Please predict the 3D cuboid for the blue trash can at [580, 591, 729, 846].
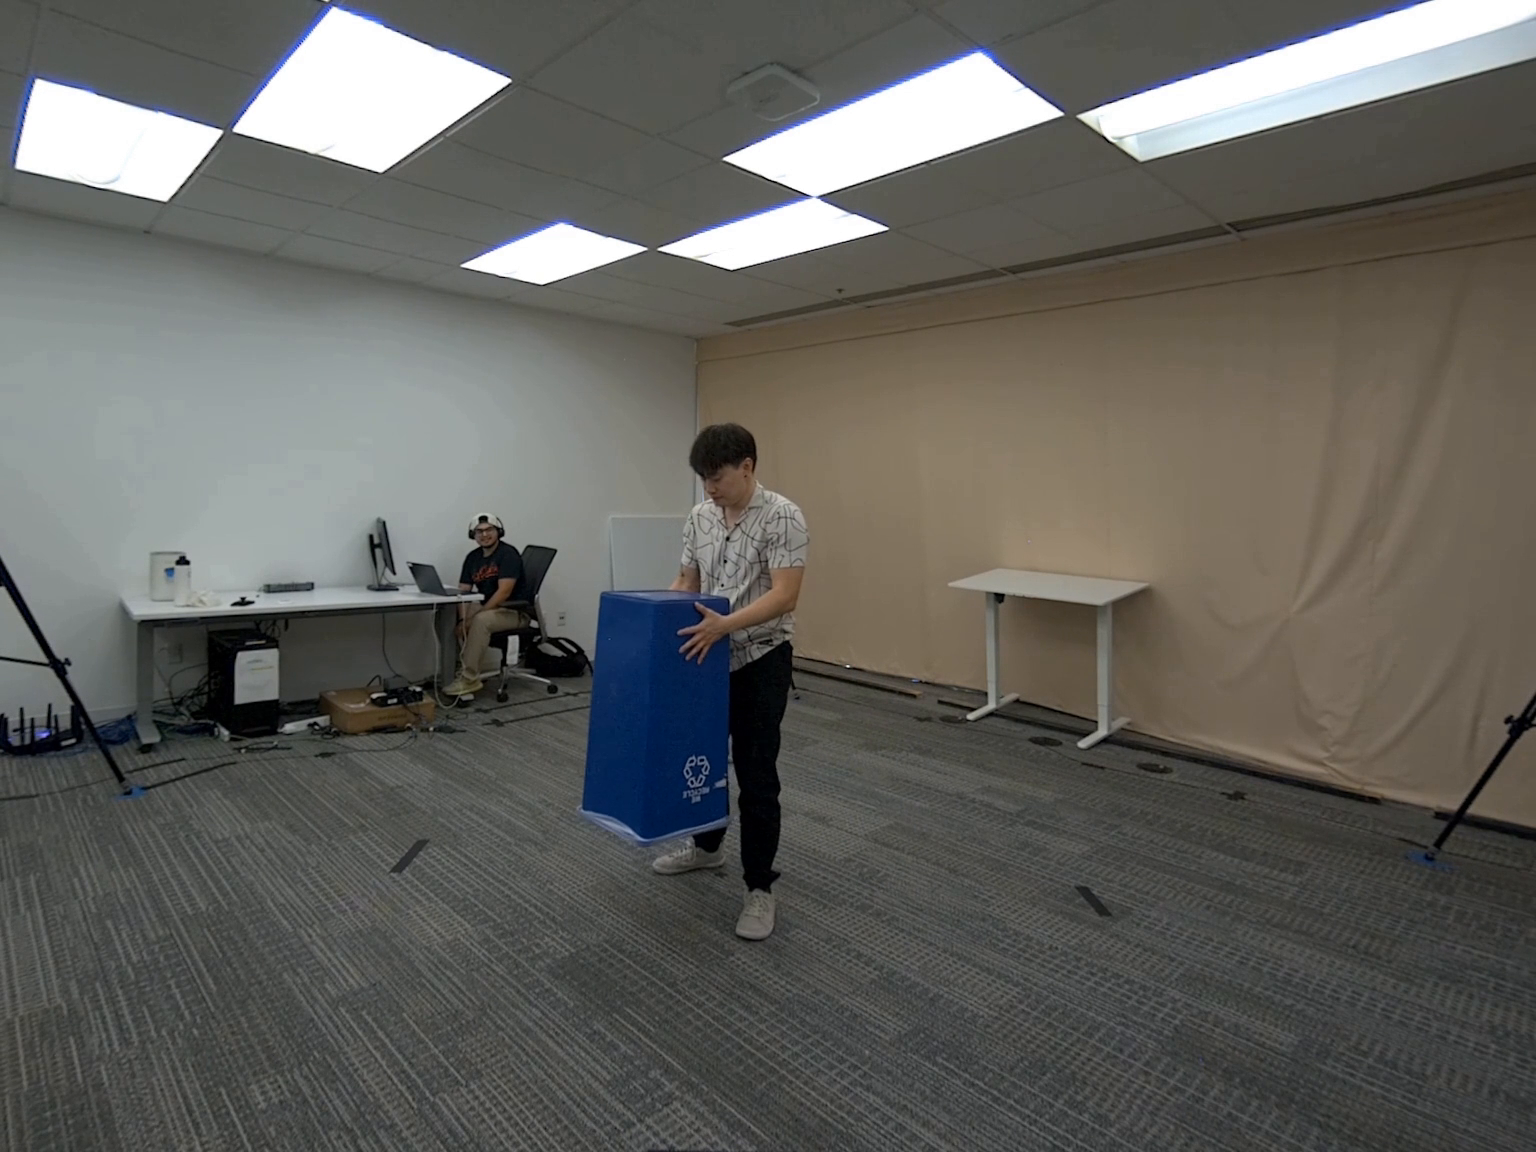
[{"bbox_3d":[-0.348,0.419,2.648,0.369,0.713,0.383,1,2,-43],"label":"blue trash can"}]
